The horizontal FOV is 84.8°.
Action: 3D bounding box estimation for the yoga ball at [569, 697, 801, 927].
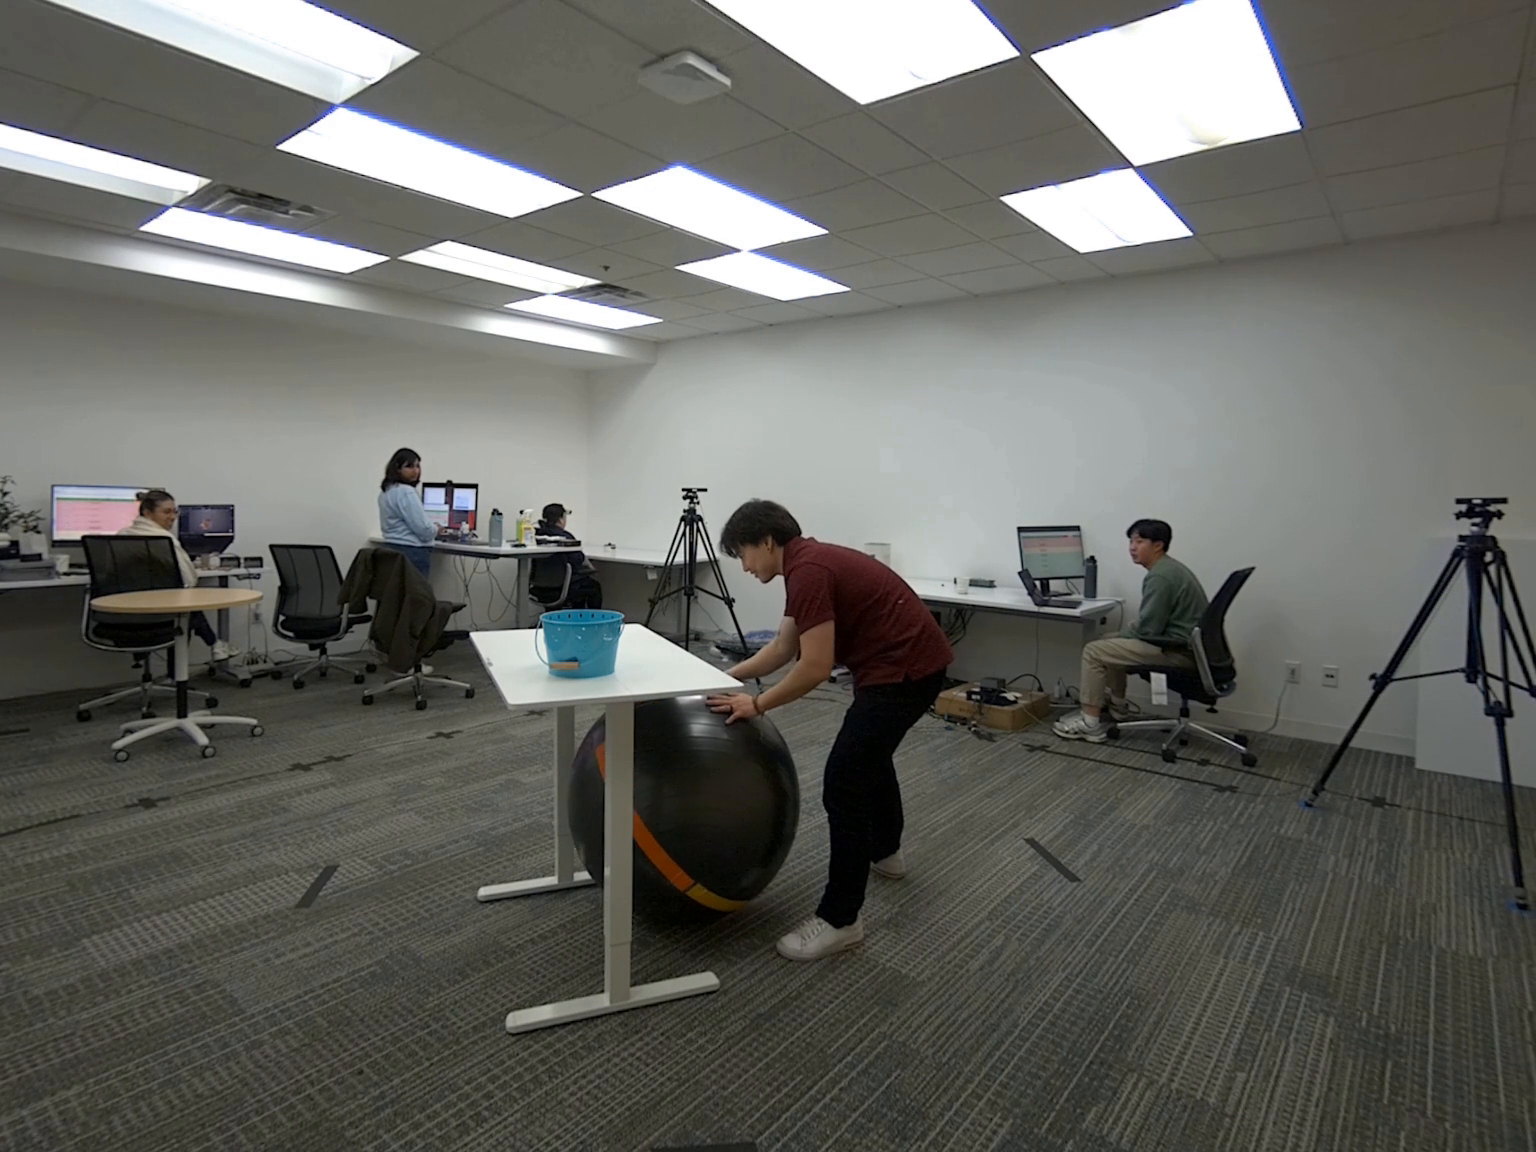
[{"bbox_3d":[-0.290,0.735,2.797,0.757,0.756,0.762,1,4,-2],"label":"yoga ball"}]
